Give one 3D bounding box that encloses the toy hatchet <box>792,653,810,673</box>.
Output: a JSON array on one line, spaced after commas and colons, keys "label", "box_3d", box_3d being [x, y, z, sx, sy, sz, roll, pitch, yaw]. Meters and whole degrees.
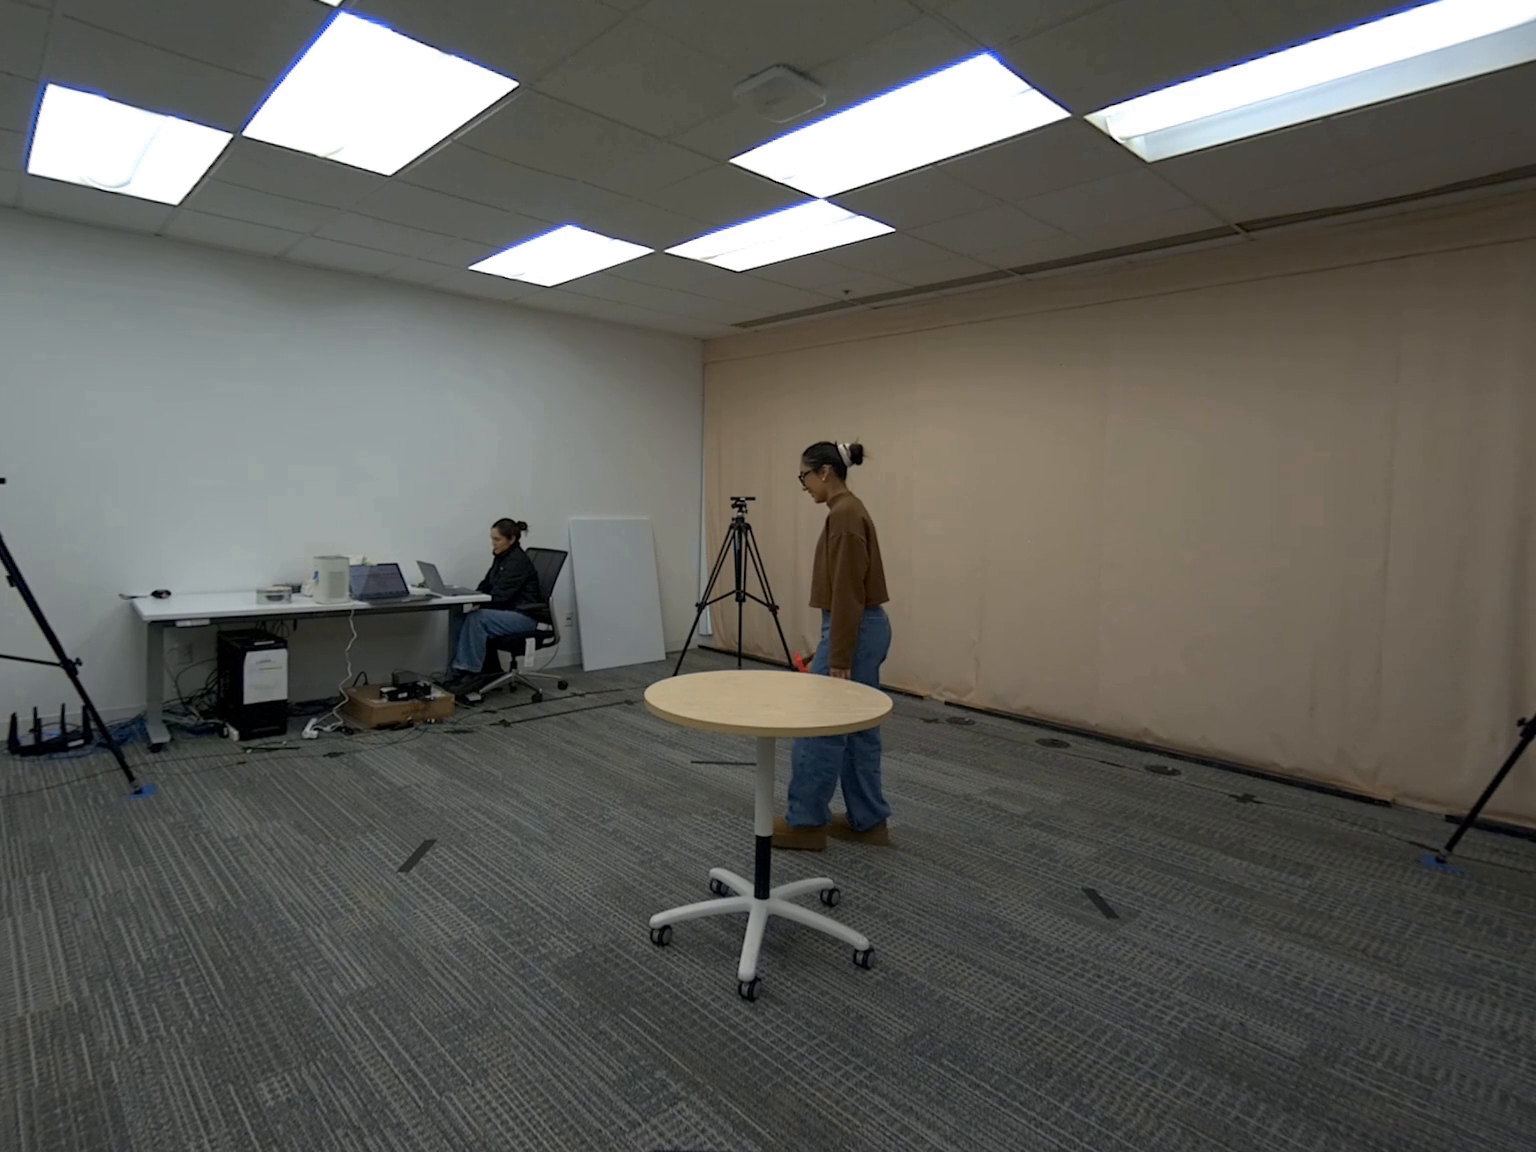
[{"label": "toy hatchet", "box_3d": [0.214, 0.393, 3.773, 0.029, 0.130, 0.276, -16, 8, -43]}]
